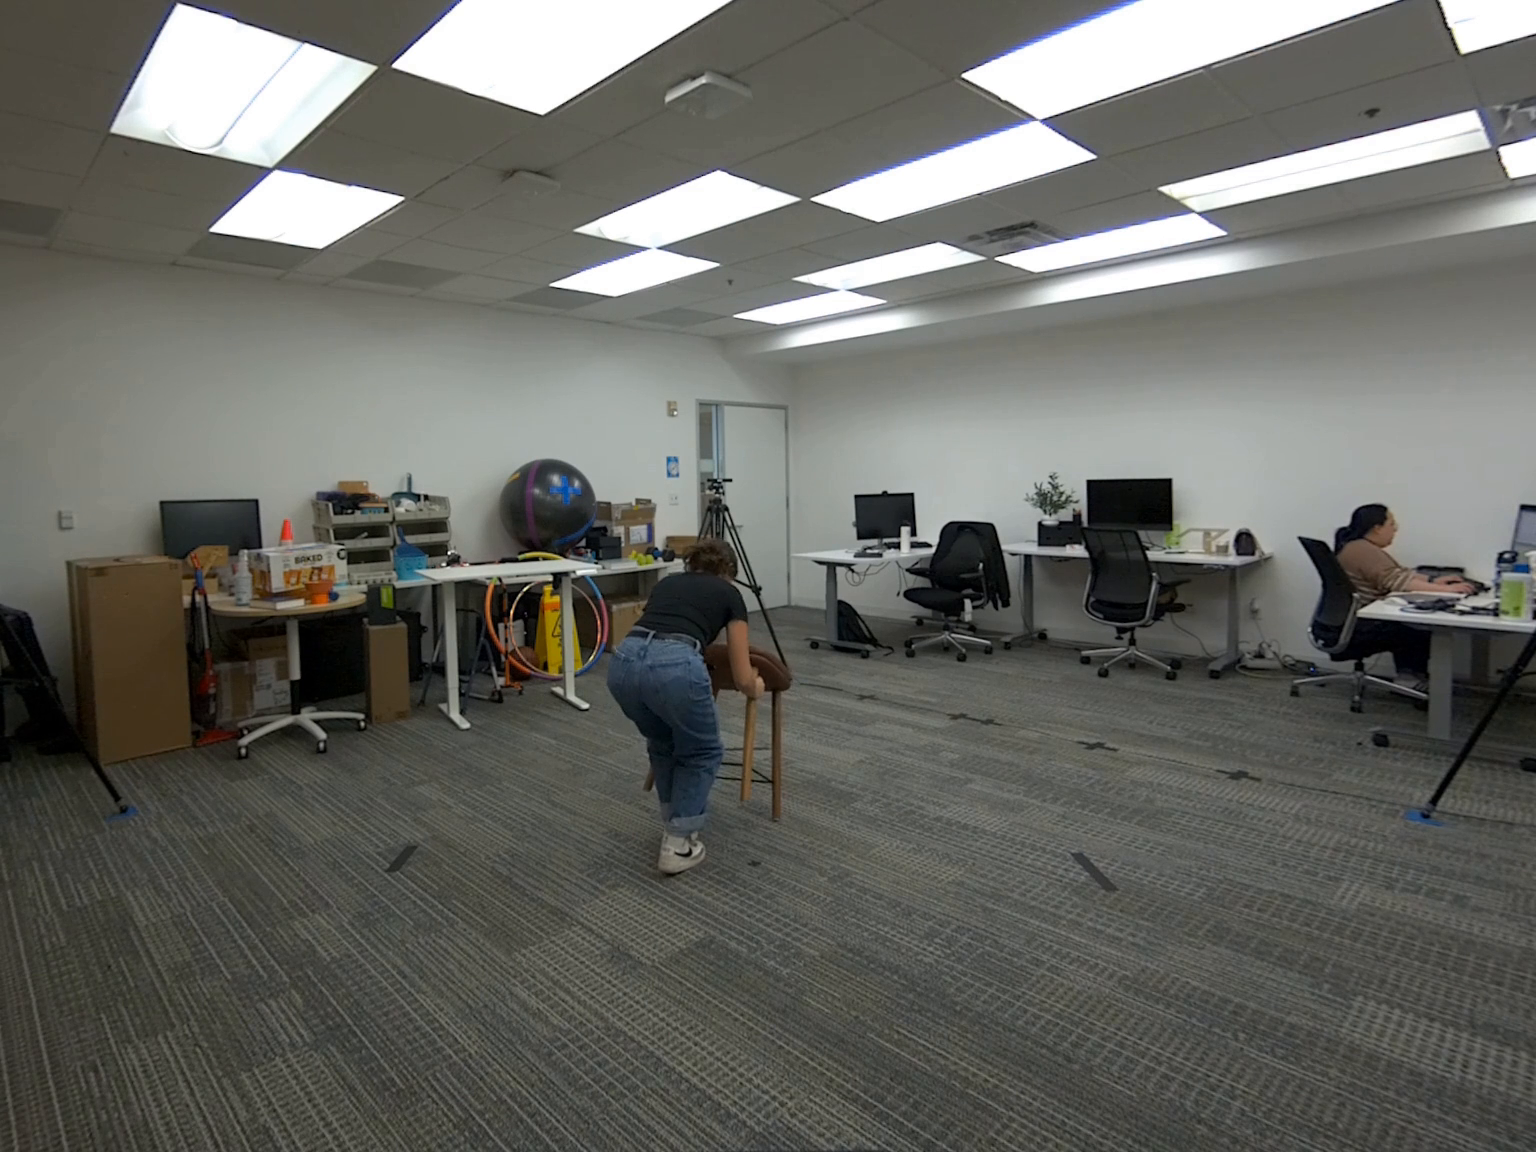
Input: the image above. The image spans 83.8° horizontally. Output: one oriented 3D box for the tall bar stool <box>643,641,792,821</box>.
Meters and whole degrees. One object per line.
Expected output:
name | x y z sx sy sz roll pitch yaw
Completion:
tall bar stool | -0.167 0.524 3.610 0.477 0.905 0.440 -3 -27 21
